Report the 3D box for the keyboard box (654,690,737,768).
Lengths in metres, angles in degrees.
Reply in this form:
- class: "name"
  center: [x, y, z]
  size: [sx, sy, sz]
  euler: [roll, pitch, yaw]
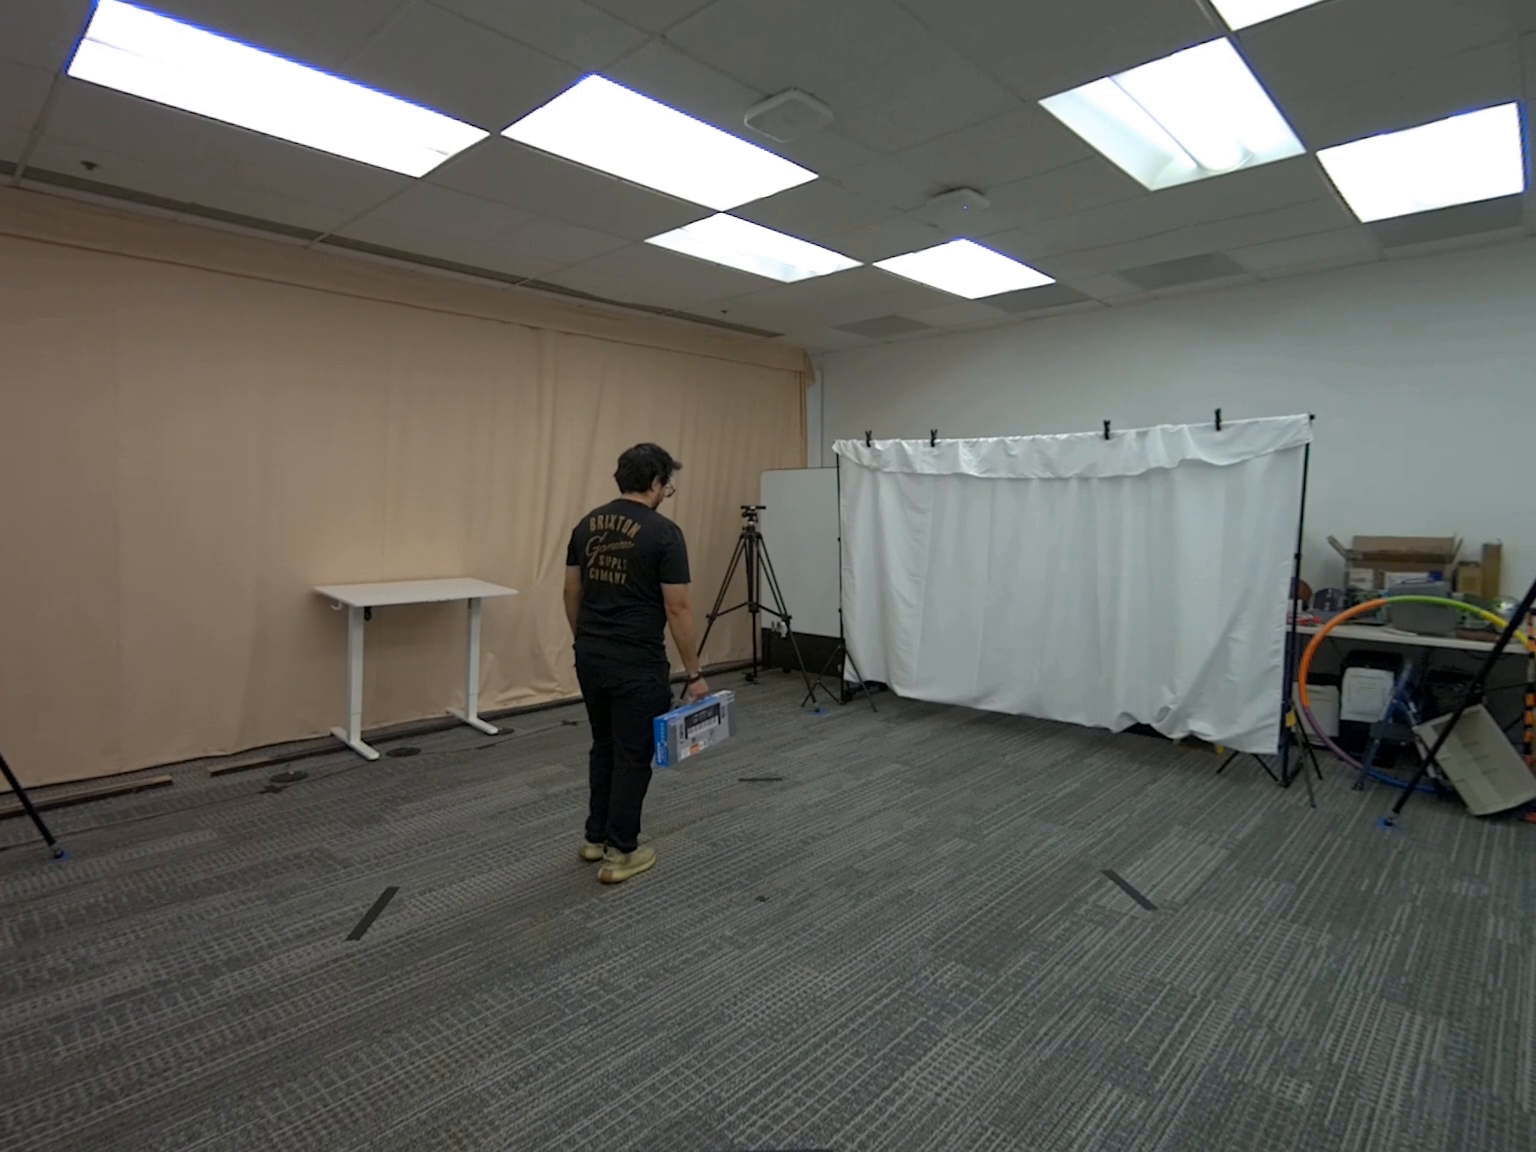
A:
- class: "keyboard box"
  center: [-0.265, 0.566, 3.156]
  size: [0.061, 0.175, 0.425]
  euler: [1, 7, 33]
